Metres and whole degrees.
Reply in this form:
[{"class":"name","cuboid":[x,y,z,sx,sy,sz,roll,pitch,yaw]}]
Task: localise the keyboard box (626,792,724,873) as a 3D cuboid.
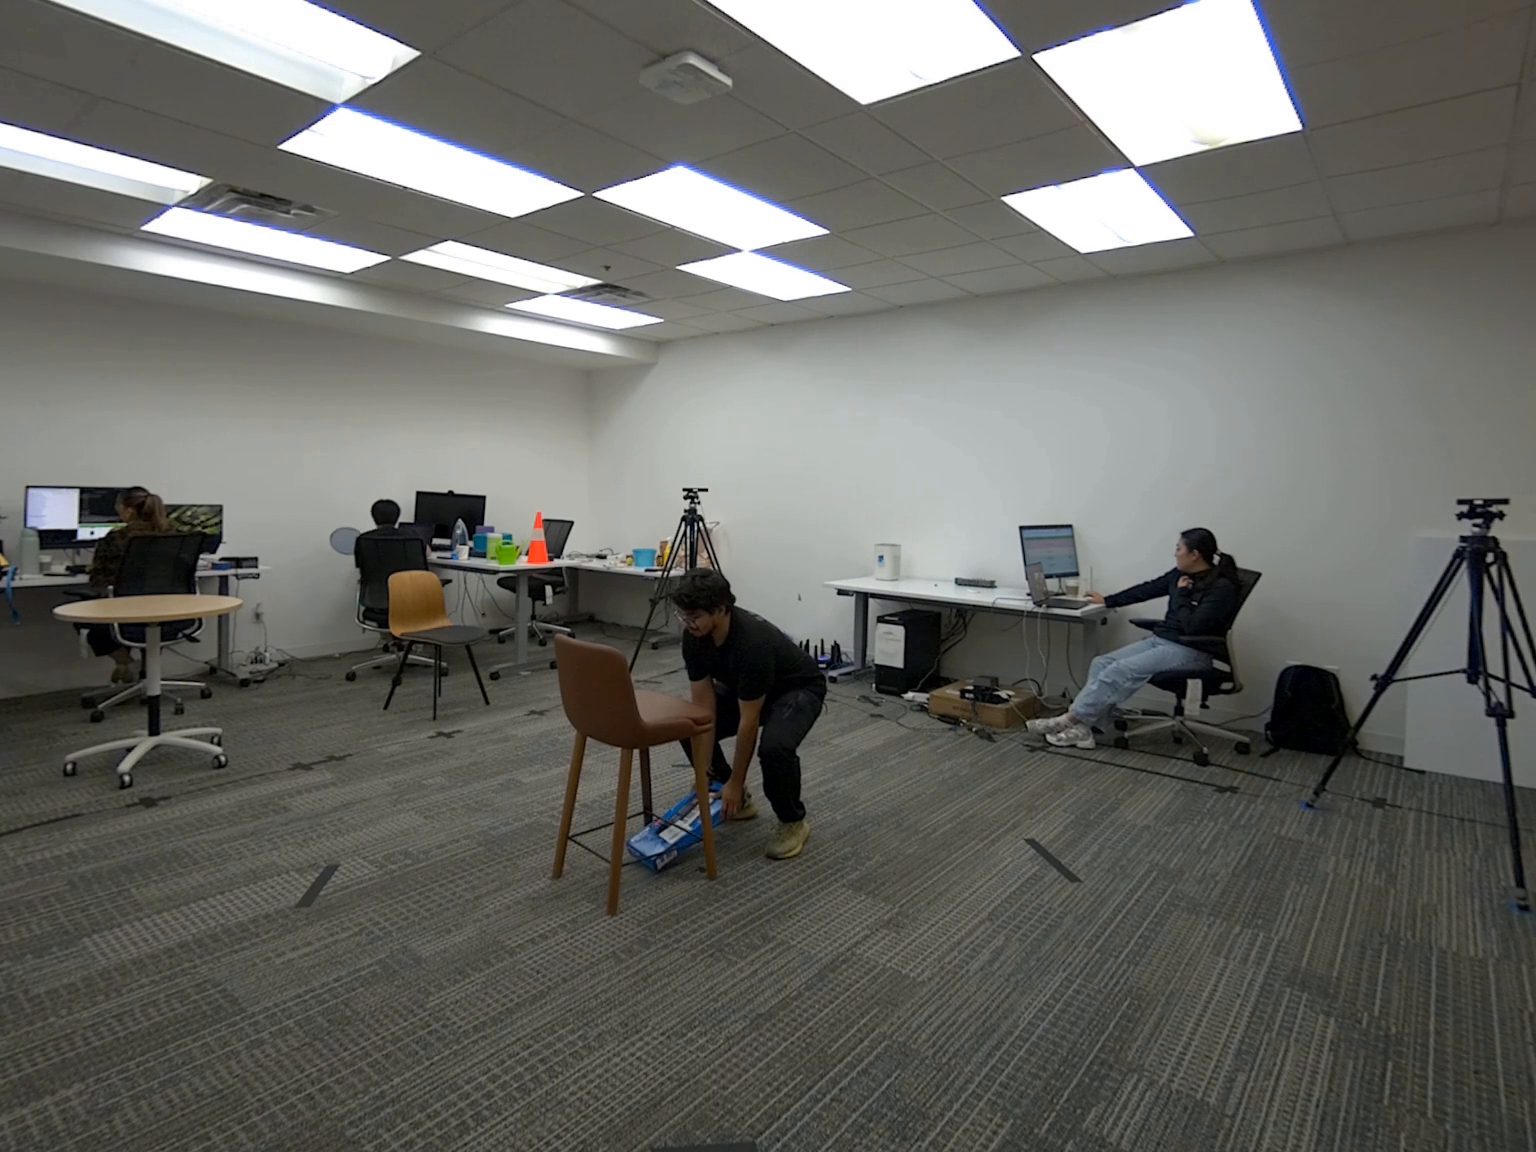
[{"class":"keyboard box","cuboid":[-0.327,0.947,3.221,0.430,0.058,0.182,-28,26,-37]}]
